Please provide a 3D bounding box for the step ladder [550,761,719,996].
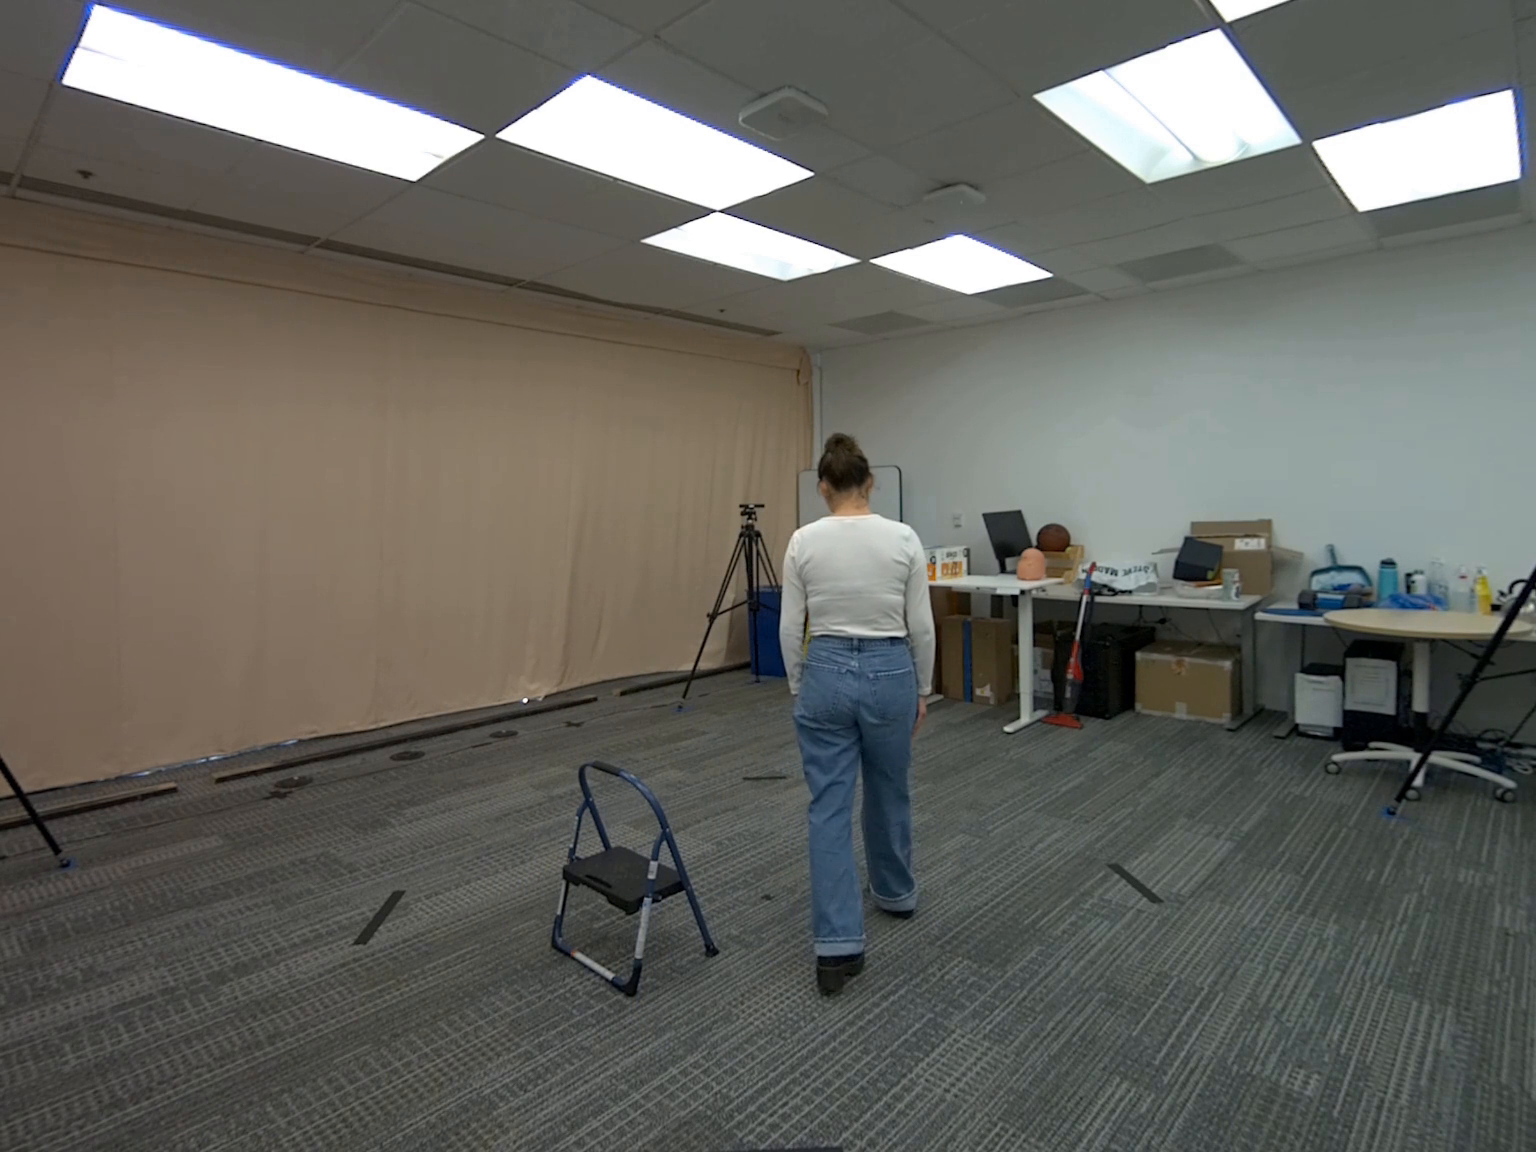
[{"bbox_3d":[-0.430,0.881,2.641,0.445,0.605,0.339,1,4,43],"label":"step ladder"}]
